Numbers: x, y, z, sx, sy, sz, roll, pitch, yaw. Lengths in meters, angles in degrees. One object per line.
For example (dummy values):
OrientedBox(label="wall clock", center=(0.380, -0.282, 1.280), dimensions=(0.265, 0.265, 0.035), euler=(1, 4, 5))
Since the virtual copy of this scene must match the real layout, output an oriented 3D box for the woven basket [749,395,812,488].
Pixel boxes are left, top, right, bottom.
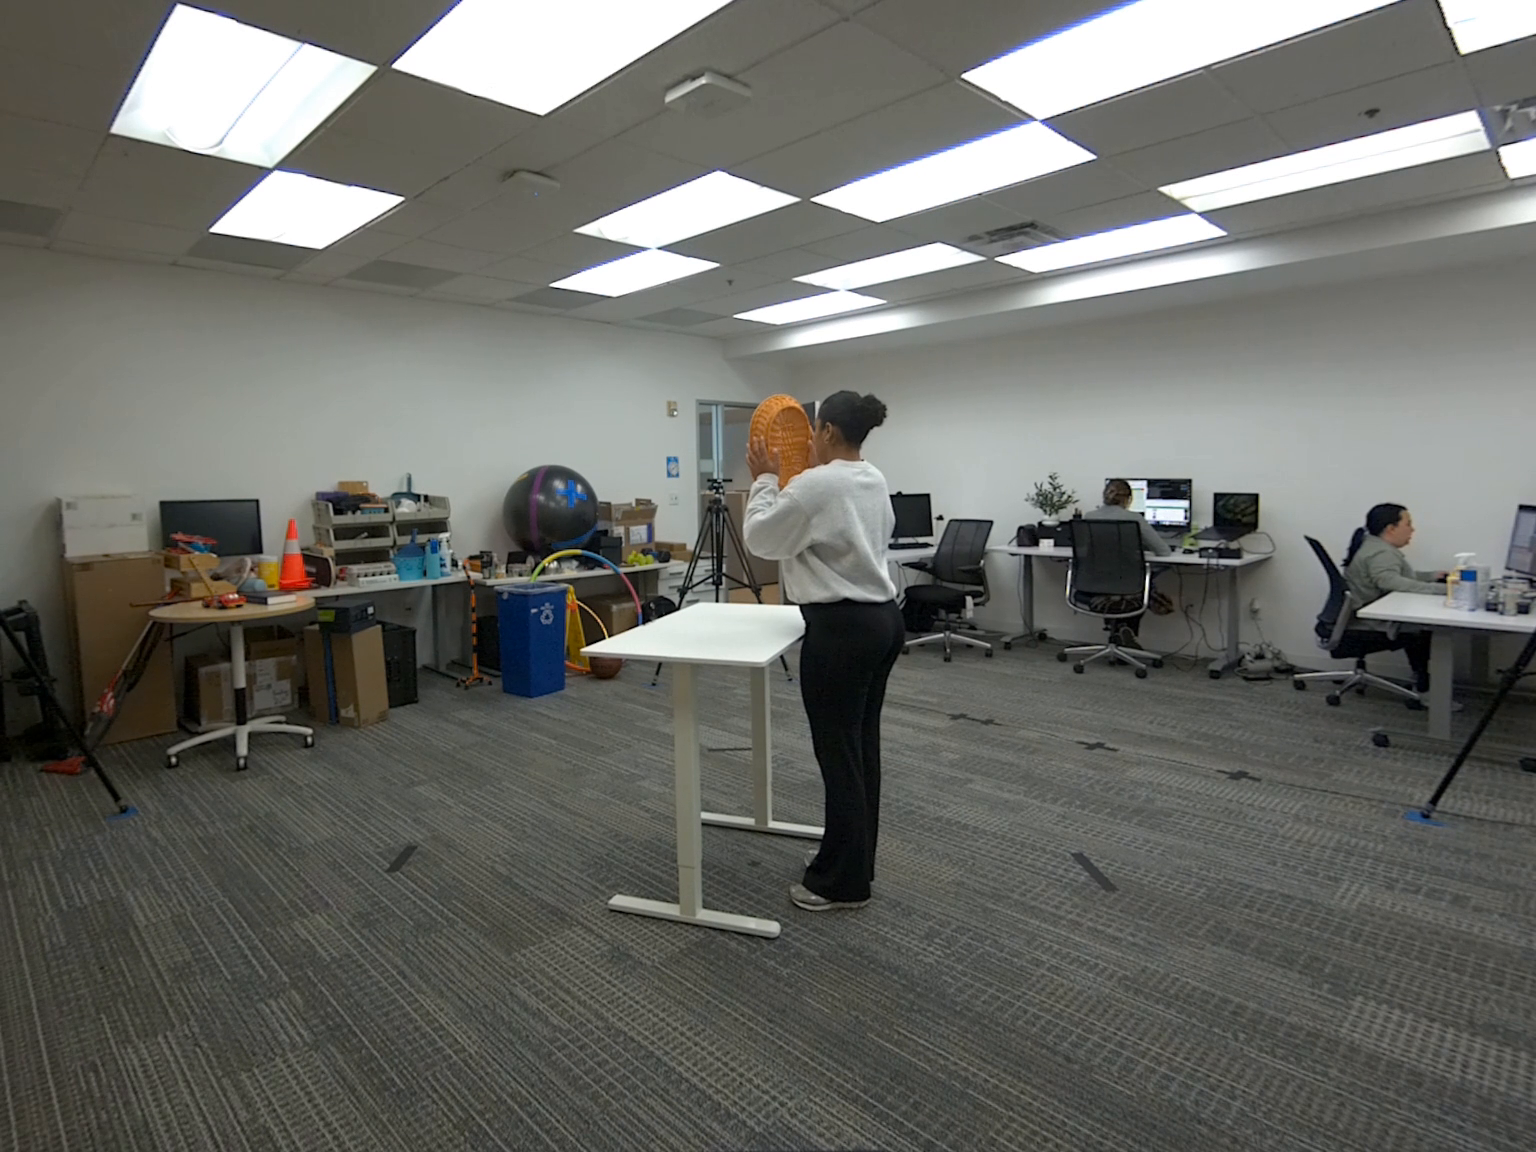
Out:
OrientedBox(label="woven basket", center=(0.062, -0.455, 2.985), dimensions=(0.248, 0.345, 0.076), euler=(-16, 18, -33))
